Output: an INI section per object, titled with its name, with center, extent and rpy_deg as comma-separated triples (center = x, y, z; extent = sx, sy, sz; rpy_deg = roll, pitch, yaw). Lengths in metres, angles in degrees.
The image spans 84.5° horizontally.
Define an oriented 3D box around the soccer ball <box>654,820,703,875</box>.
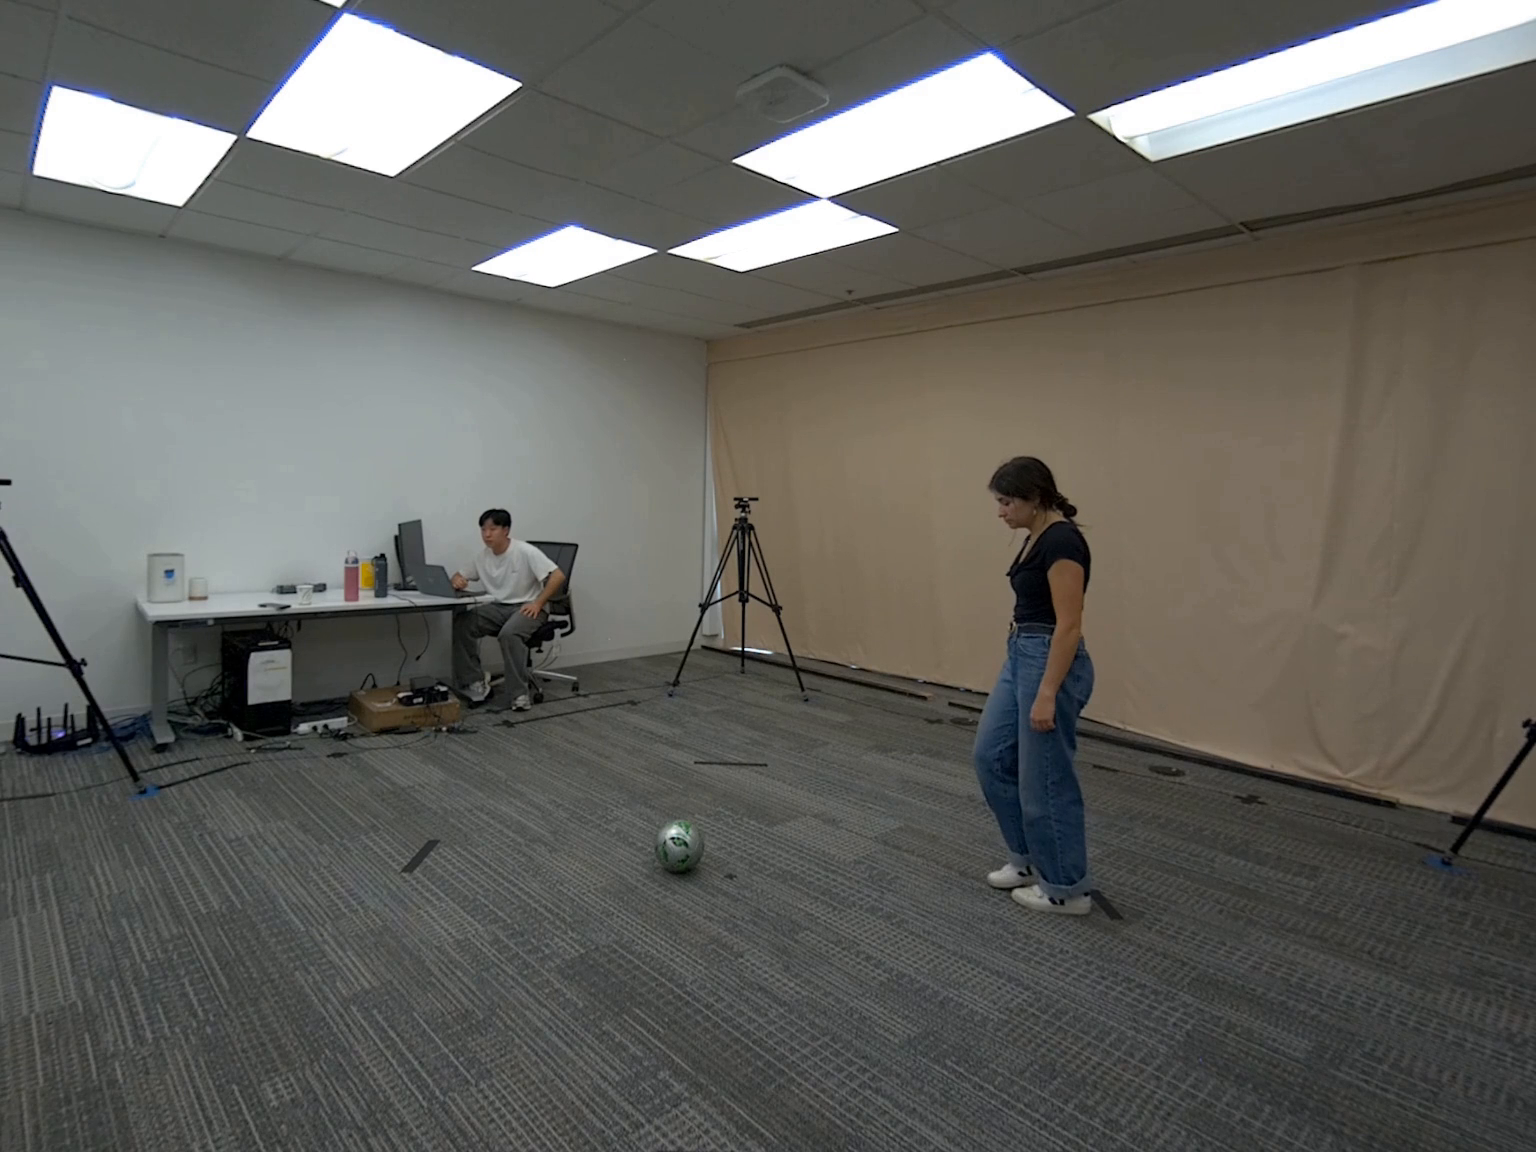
[soccer ball]
center = -0.333, 1.005, 3.148
extent = 0.187, 0.187, 0.188
rpy_deg = 1, 4, -1
